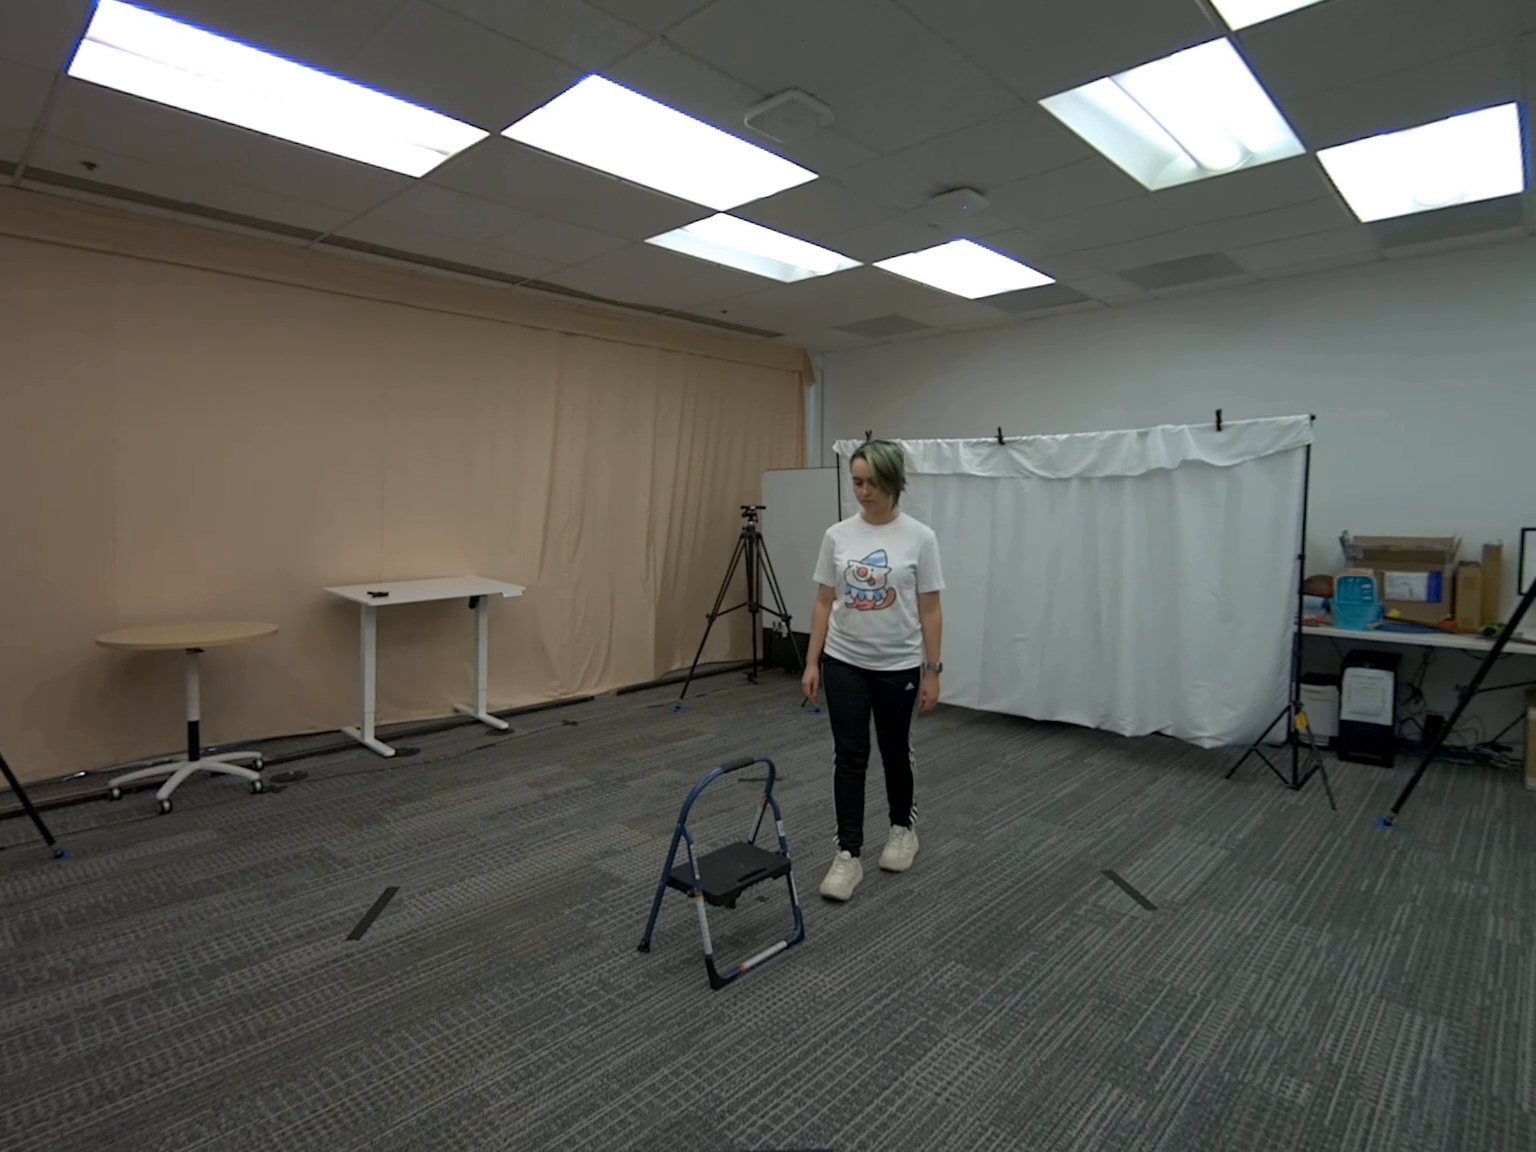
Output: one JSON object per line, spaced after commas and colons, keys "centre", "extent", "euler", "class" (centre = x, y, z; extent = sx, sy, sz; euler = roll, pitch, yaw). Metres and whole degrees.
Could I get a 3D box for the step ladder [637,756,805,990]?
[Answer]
{"centre": [-0.142, 0.868, 2.665], "extent": [0.361, 0.605, 0.417], "euler": [2, 4, 42], "class": "step ladder"}
